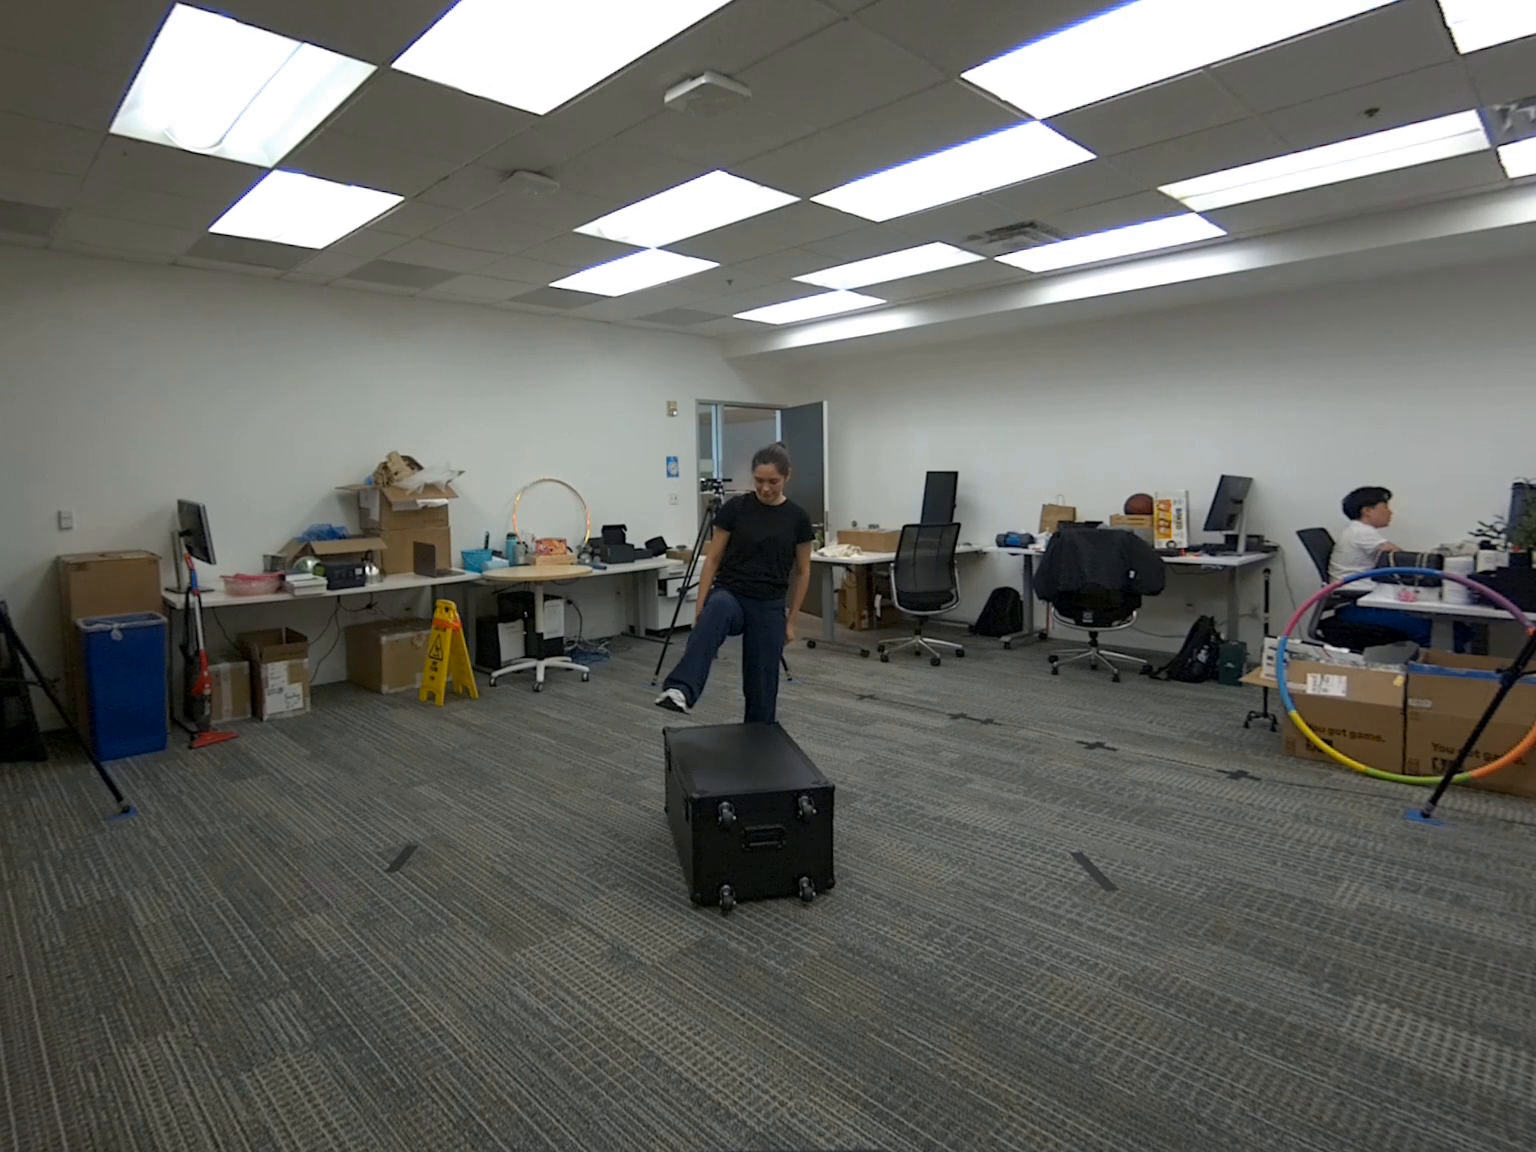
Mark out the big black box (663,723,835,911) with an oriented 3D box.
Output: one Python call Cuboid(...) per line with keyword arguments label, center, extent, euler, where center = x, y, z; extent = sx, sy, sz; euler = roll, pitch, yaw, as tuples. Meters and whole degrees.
Cuboid(label="big black box", center=(-0.099, 0.843, 3.165), extent=(0.515, 0.395, 0.875), euler=(-2, 6, -13))
